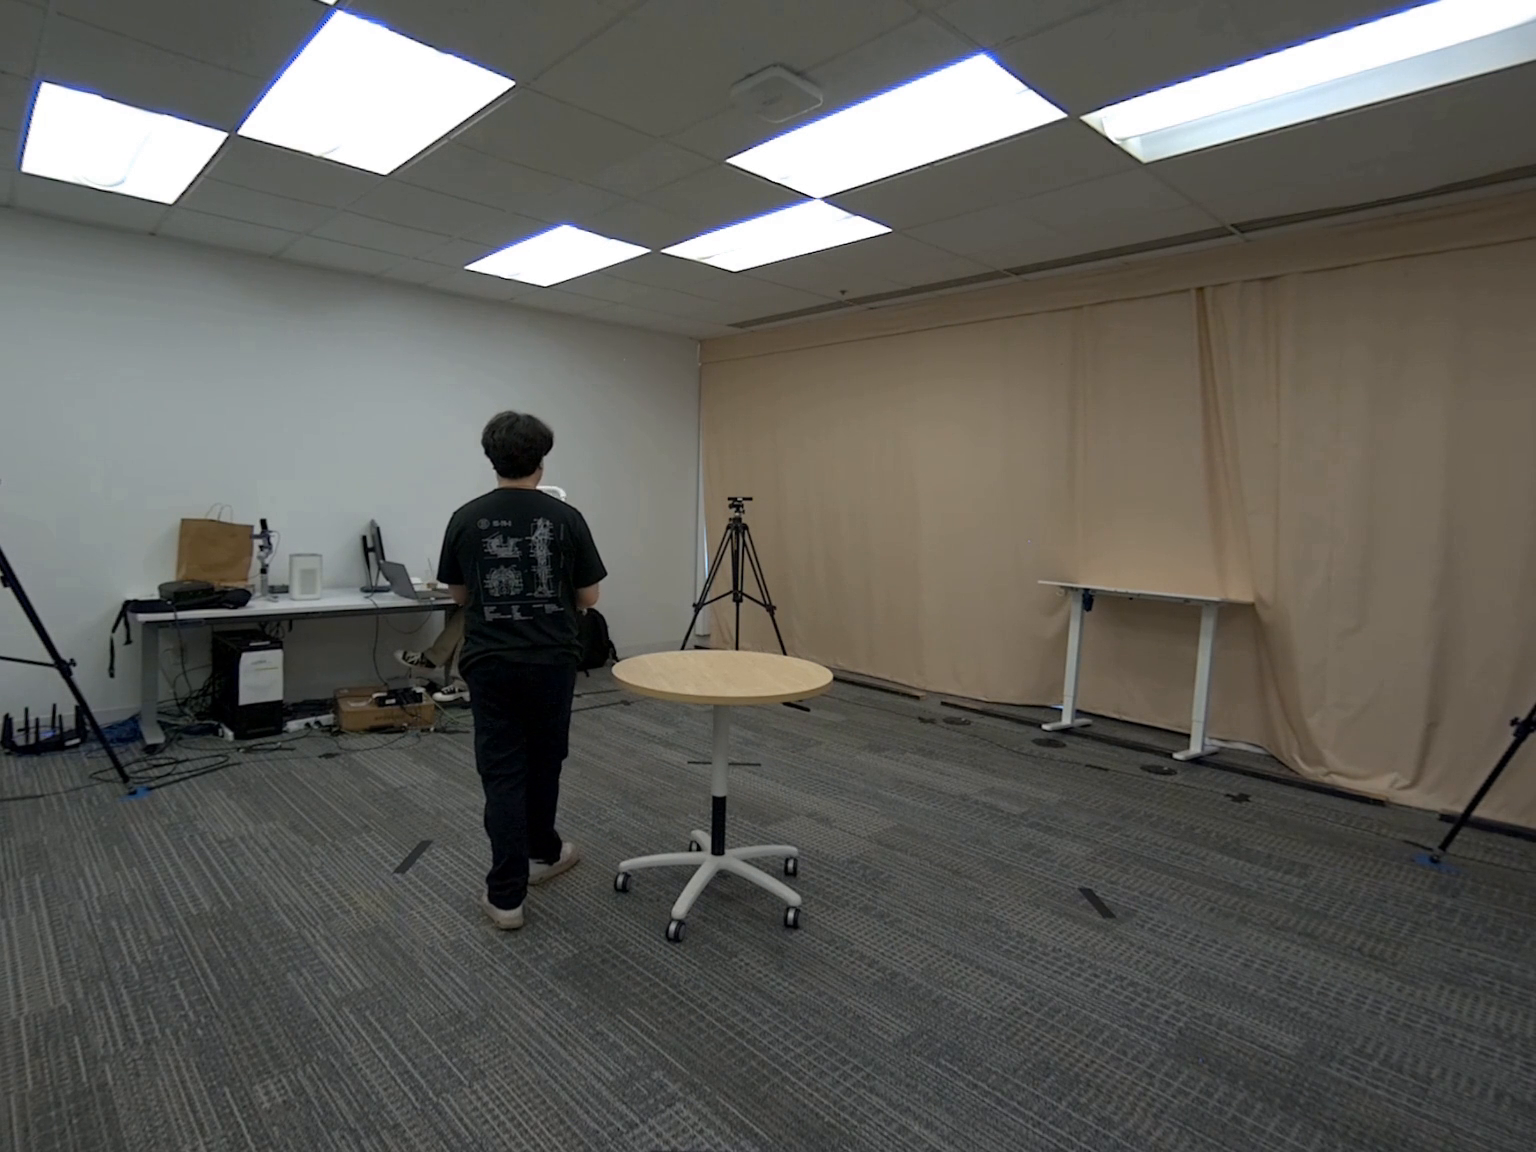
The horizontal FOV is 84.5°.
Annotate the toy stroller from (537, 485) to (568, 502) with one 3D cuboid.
[{"bbox_3d":[-0.922,-0.099,3.311,0.279,0.535,0.344,3,1,-8],"label":"toy stroller"}]
